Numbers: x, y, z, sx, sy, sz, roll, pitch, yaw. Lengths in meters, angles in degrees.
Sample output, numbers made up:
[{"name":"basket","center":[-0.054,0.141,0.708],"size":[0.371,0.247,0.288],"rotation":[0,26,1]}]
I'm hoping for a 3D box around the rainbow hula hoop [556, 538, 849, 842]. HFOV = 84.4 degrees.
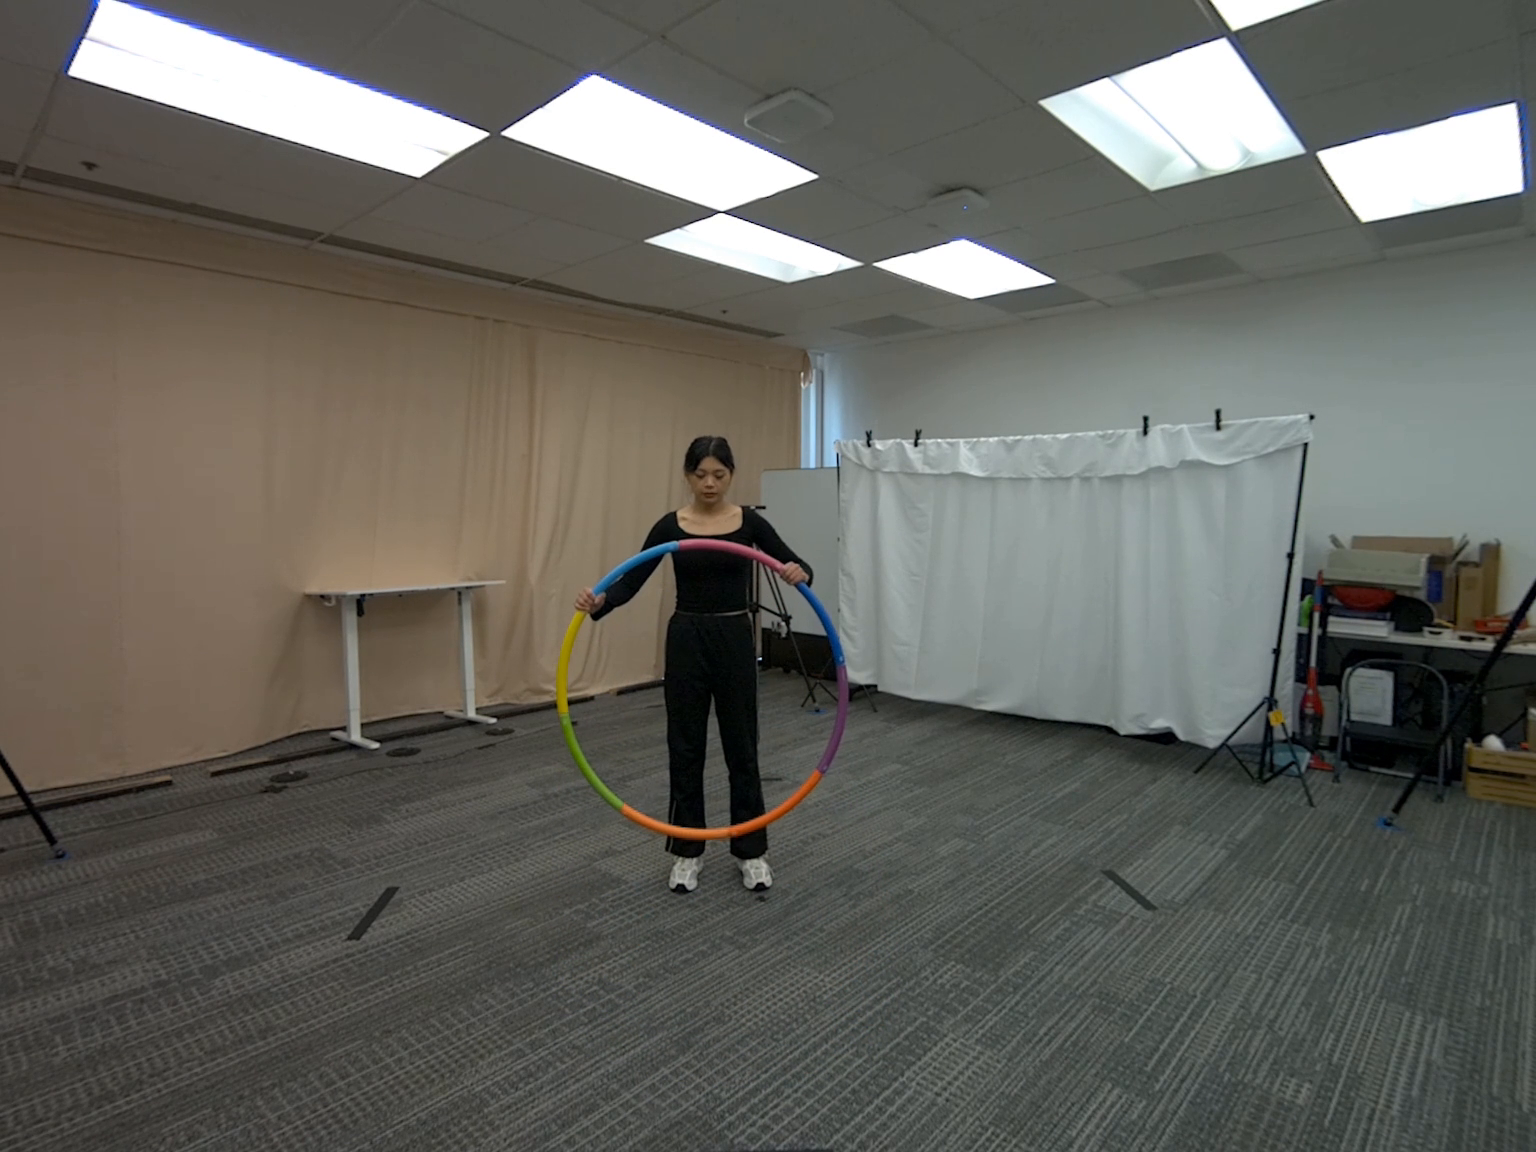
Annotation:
[{"name":"rainbow hula hoop","center":[-0.214,0.387,2.800],"size":[0.977,0.979,0.035],"rotation":[0,0,-2]}]
